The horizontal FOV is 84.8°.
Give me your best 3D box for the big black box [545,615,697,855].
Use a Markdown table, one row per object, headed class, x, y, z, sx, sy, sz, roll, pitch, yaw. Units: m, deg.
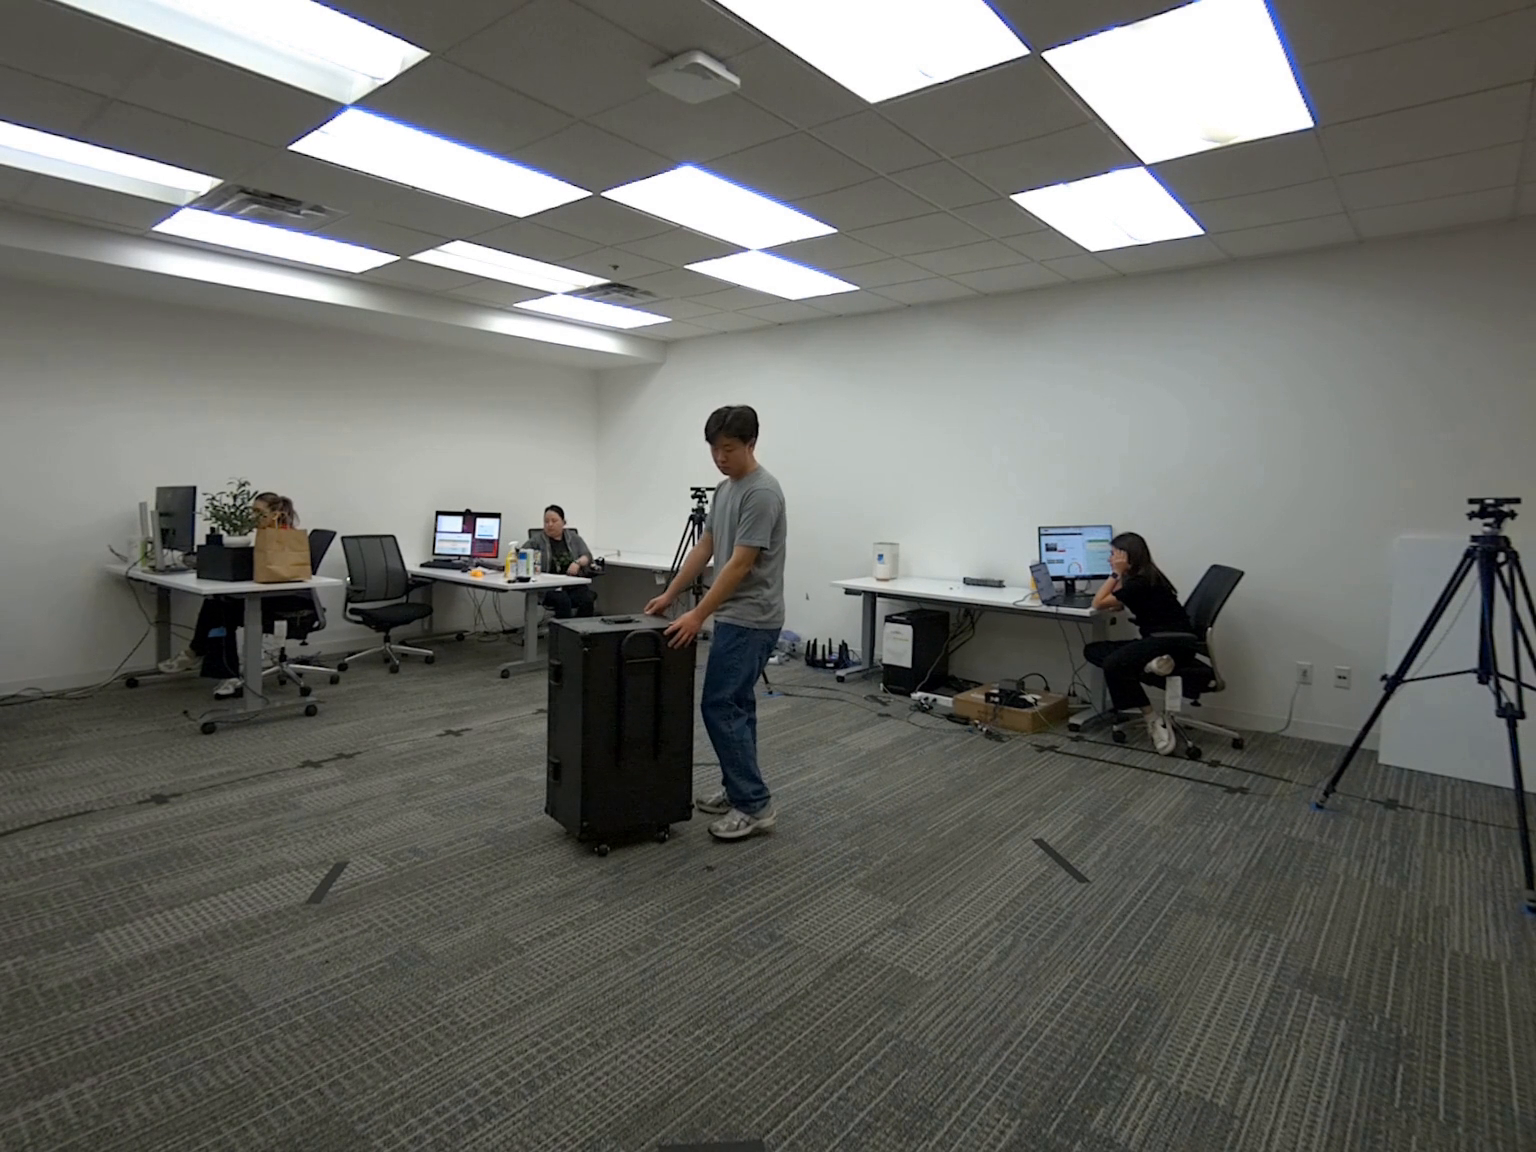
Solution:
| class | x | y | z | sx | sy | sz | roll | pitch | yaw |
| --- | --- | --- | --- | --- | --- | --- | --- | --- | --- |
| big black box | -0.597 | 0.612 | 3.382 | 0.506 | 0.859 | 0.409 | 1 | 3 | -34 |
